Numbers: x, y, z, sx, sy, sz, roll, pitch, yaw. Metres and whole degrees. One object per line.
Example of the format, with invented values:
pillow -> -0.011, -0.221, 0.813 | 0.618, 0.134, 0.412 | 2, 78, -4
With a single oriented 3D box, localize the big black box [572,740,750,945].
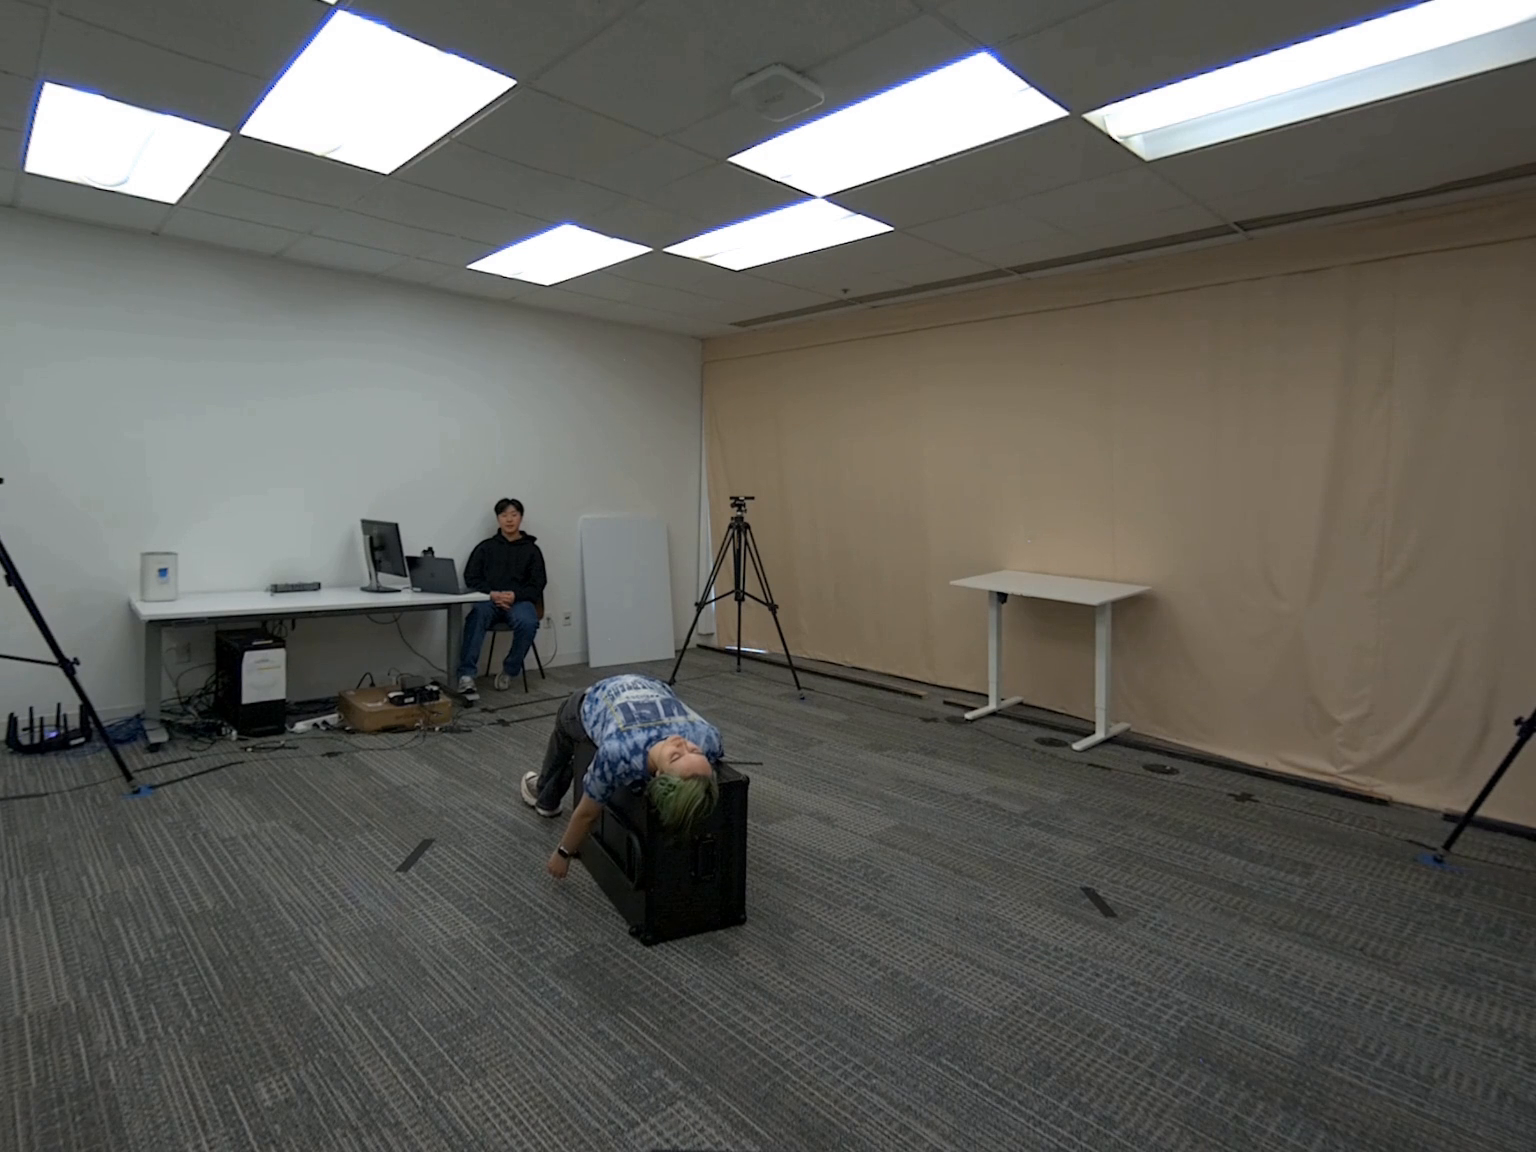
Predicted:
big black box -> -0.440, 0.863, 3.024 | 0.389, 0.520, 0.880 | -1, 4, -28
